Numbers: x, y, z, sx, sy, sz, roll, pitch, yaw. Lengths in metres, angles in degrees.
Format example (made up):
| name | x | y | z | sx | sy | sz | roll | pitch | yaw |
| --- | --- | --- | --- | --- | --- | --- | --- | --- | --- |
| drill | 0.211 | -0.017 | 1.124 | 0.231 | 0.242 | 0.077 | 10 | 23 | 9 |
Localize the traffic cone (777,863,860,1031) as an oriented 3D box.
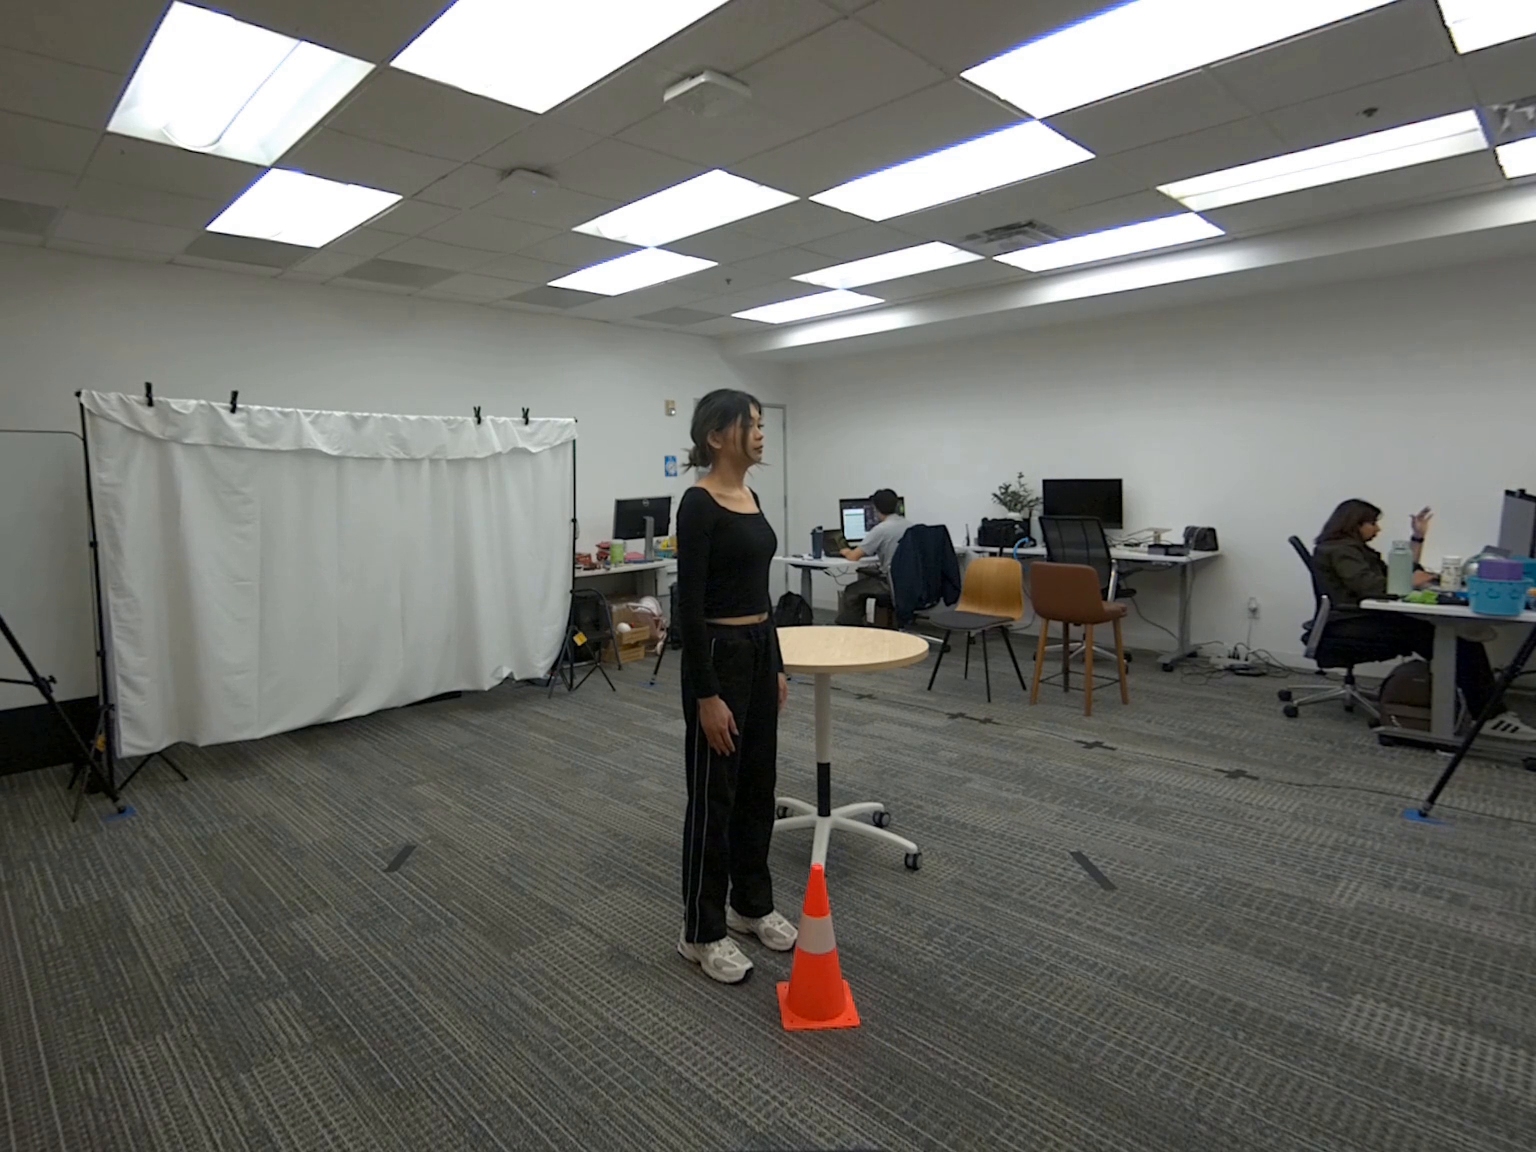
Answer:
| name | x | y | z | sx | sy | sz | roll | pitch | yaw |
| --- | --- | --- | --- | --- | --- | --- | --- | --- | --- |
| traffic cone | 0.142 | 0.954 | 2.258 | 0.203 | 0.383 | 0.205 | 0 | 3 | 0 |
